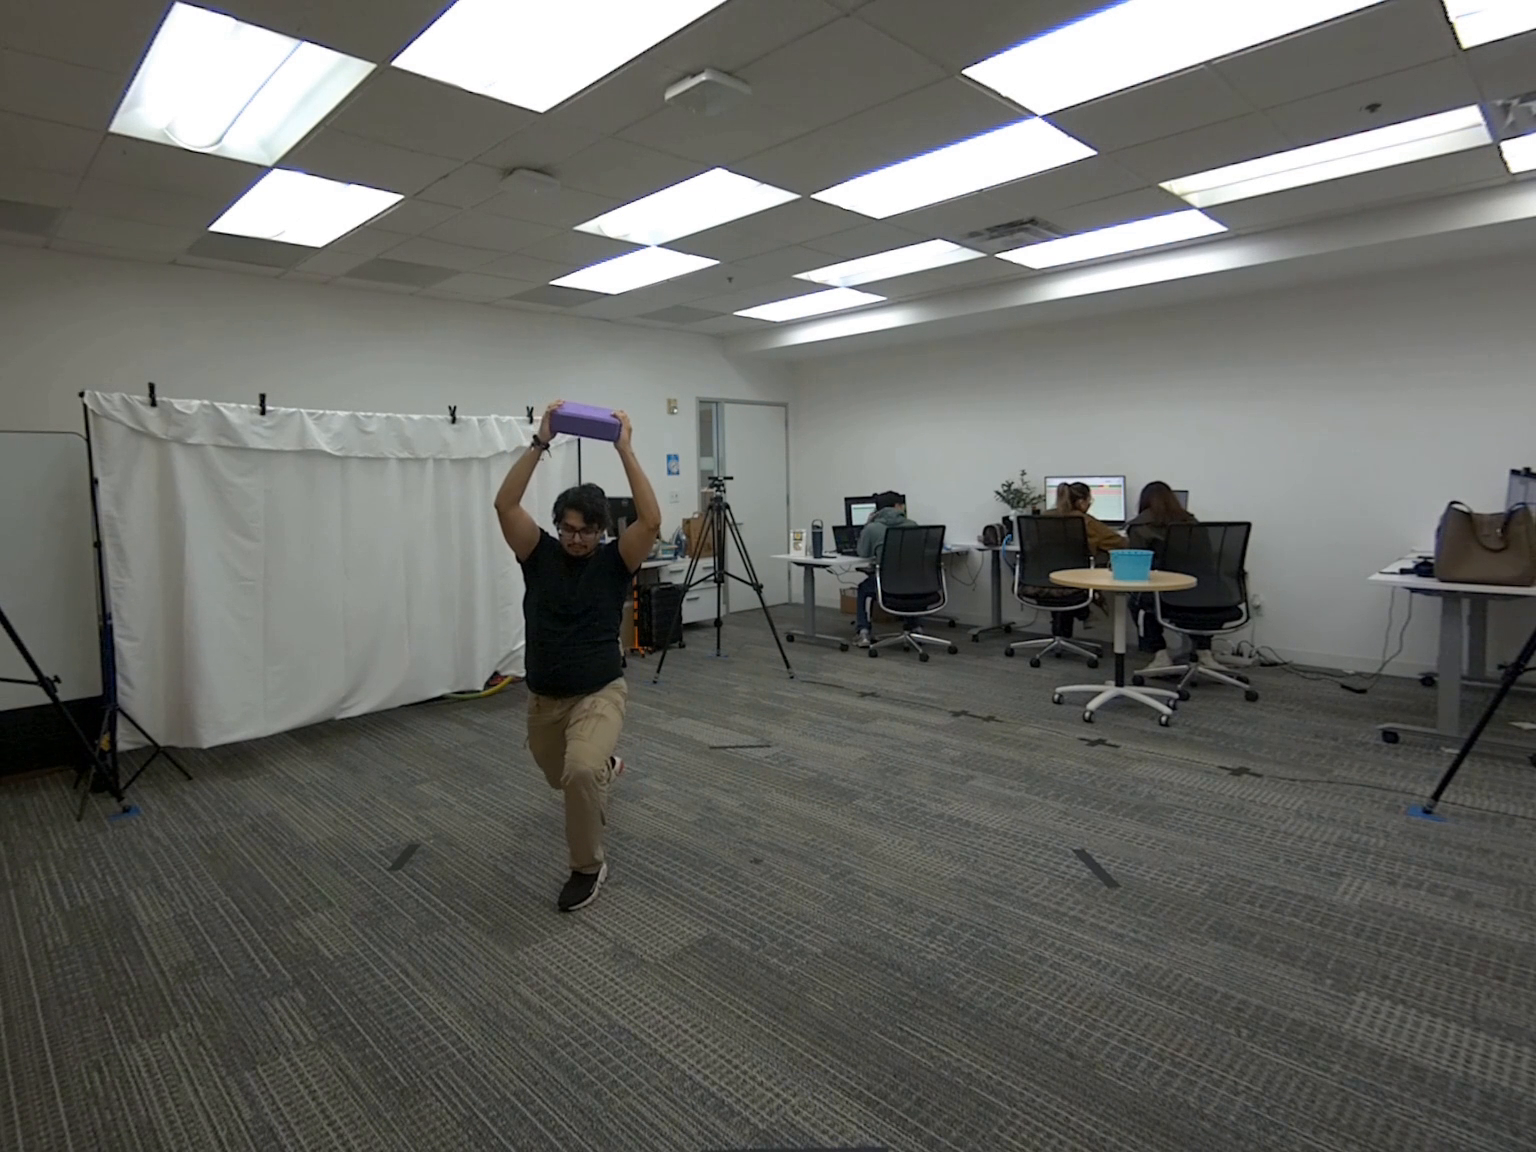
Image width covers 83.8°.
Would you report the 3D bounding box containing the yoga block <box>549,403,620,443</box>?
[{"bbox_3d":[-0.619,-0.527,2.893,0.228,0.075,0.152,9,24,-5],"label":"yoga block"}]
